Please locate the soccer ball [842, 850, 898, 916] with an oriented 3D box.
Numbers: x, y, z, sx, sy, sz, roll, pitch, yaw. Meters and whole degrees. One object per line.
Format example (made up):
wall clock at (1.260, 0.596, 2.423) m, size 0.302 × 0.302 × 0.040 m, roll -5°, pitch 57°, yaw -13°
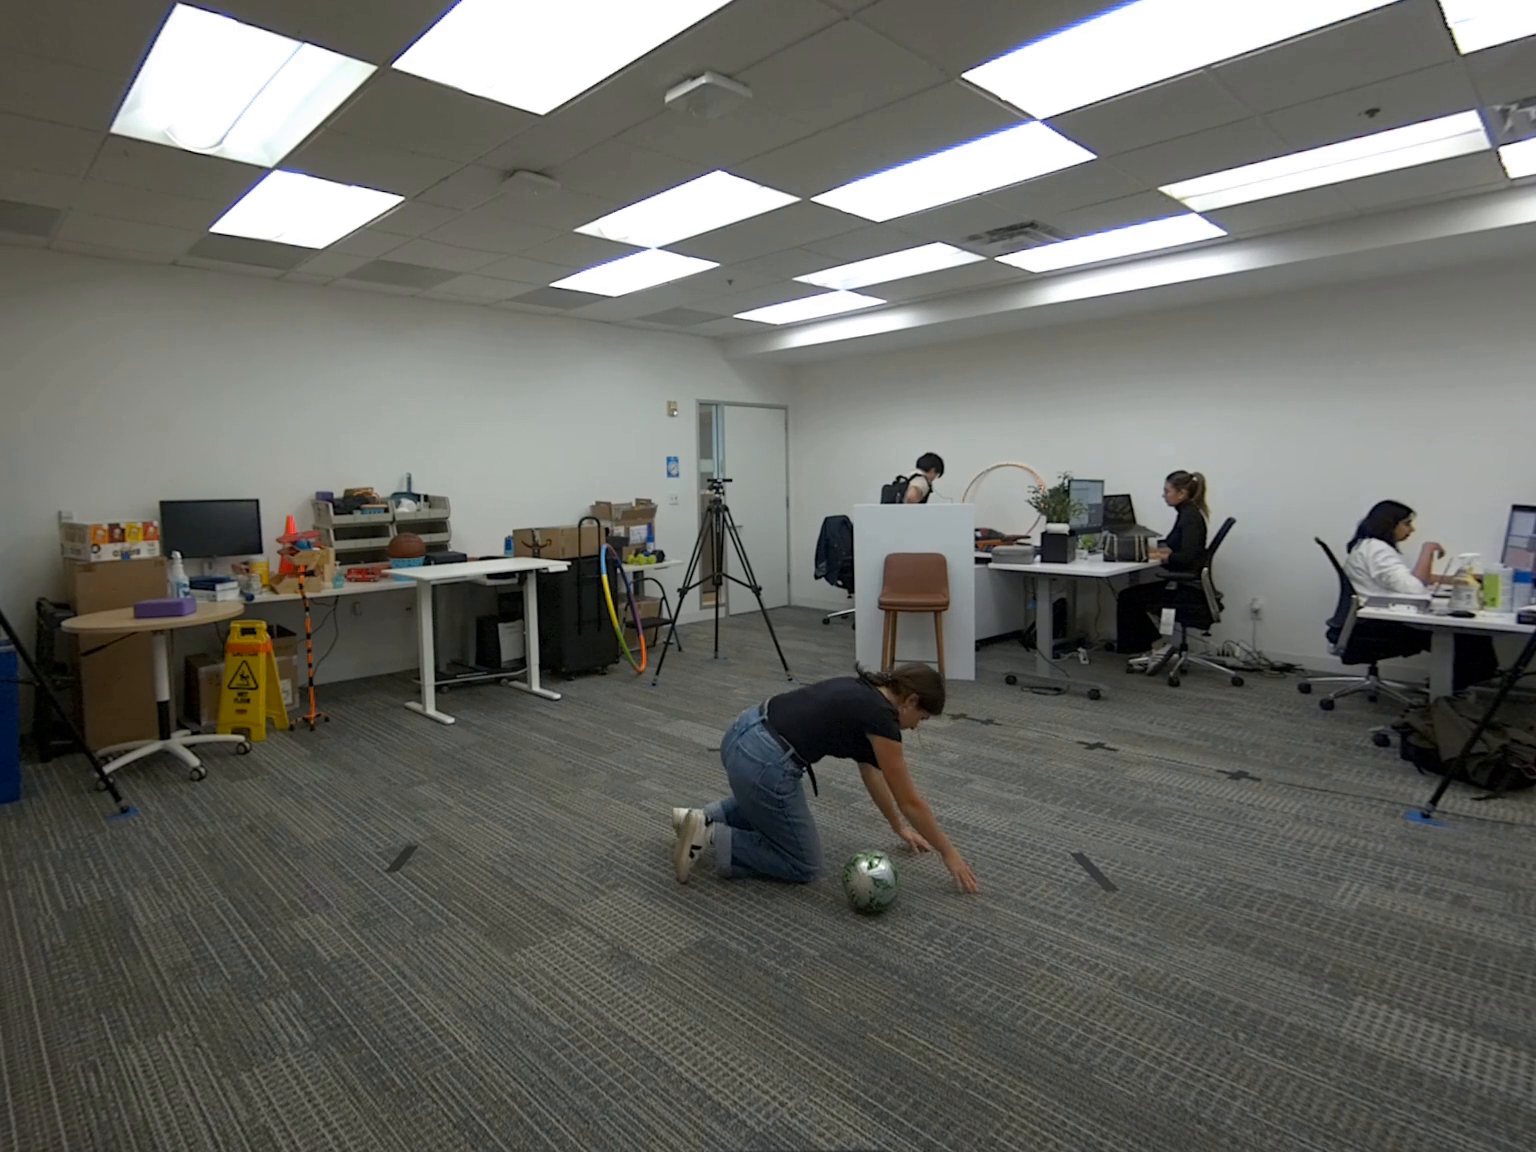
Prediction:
soccer ball at (0.337, 0.983, 2.764) m, size 0.187 × 0.187 × 0.188 m, roll -1°, pitch 5°, yaw -2°
